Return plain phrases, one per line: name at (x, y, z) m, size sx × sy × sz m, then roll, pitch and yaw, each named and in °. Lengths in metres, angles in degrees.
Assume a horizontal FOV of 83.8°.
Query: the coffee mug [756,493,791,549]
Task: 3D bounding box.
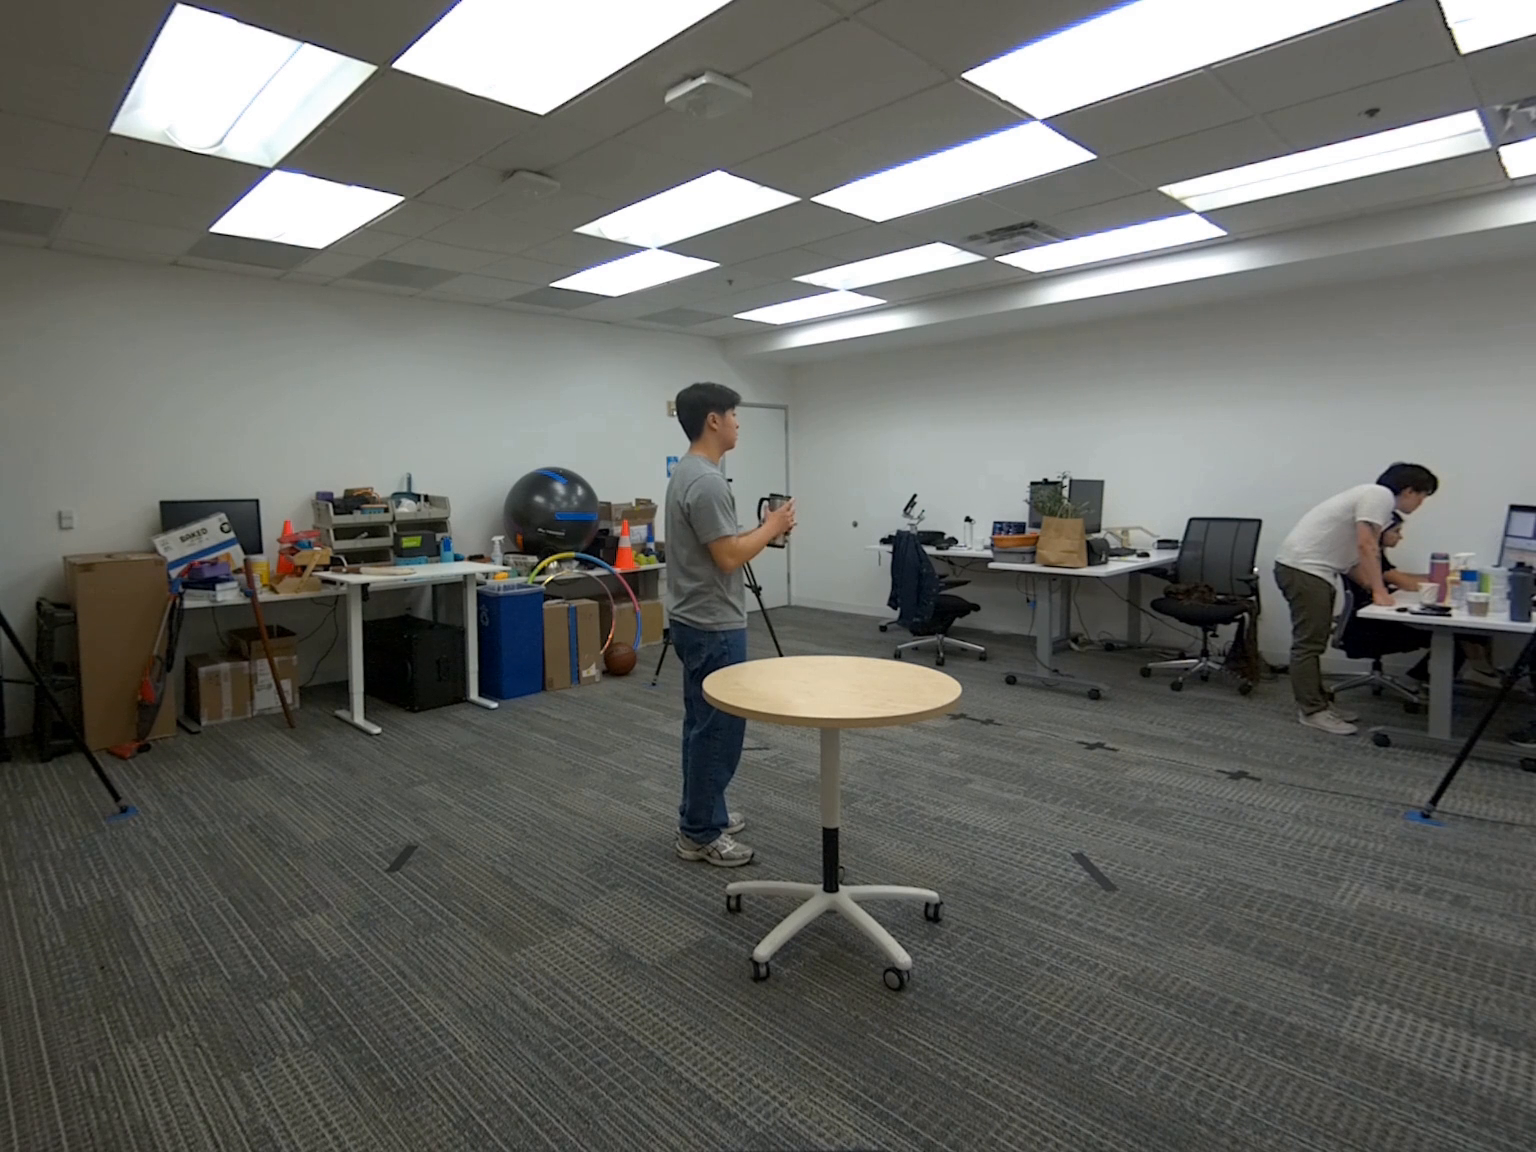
coffee mug at (0.018, -0.211, 3.212) m, size 0.125 × 0.203 × 0.085 m, roll 8°, pitch 2°, yaw 28°
